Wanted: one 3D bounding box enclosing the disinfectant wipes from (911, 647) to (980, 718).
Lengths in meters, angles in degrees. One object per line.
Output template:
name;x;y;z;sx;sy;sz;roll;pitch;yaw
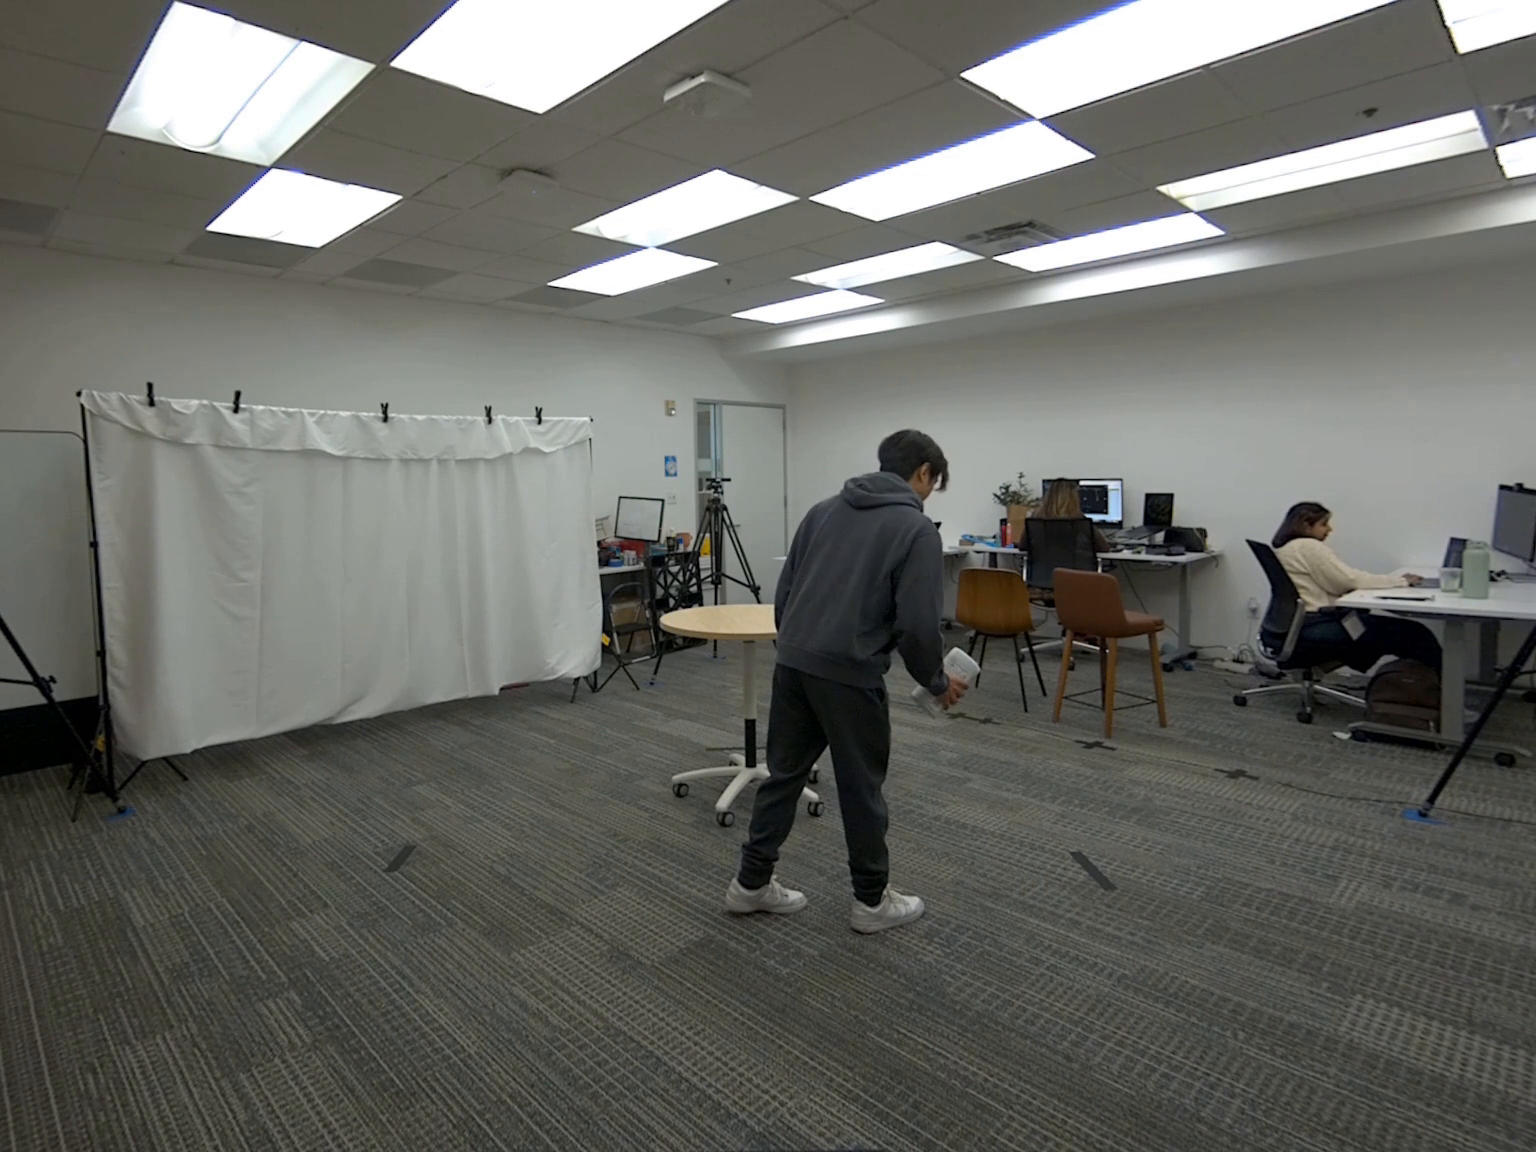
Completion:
disinfectant wipes;0.564;0.339;2.708;0.217;0.116;0.120;-46;13;-6
